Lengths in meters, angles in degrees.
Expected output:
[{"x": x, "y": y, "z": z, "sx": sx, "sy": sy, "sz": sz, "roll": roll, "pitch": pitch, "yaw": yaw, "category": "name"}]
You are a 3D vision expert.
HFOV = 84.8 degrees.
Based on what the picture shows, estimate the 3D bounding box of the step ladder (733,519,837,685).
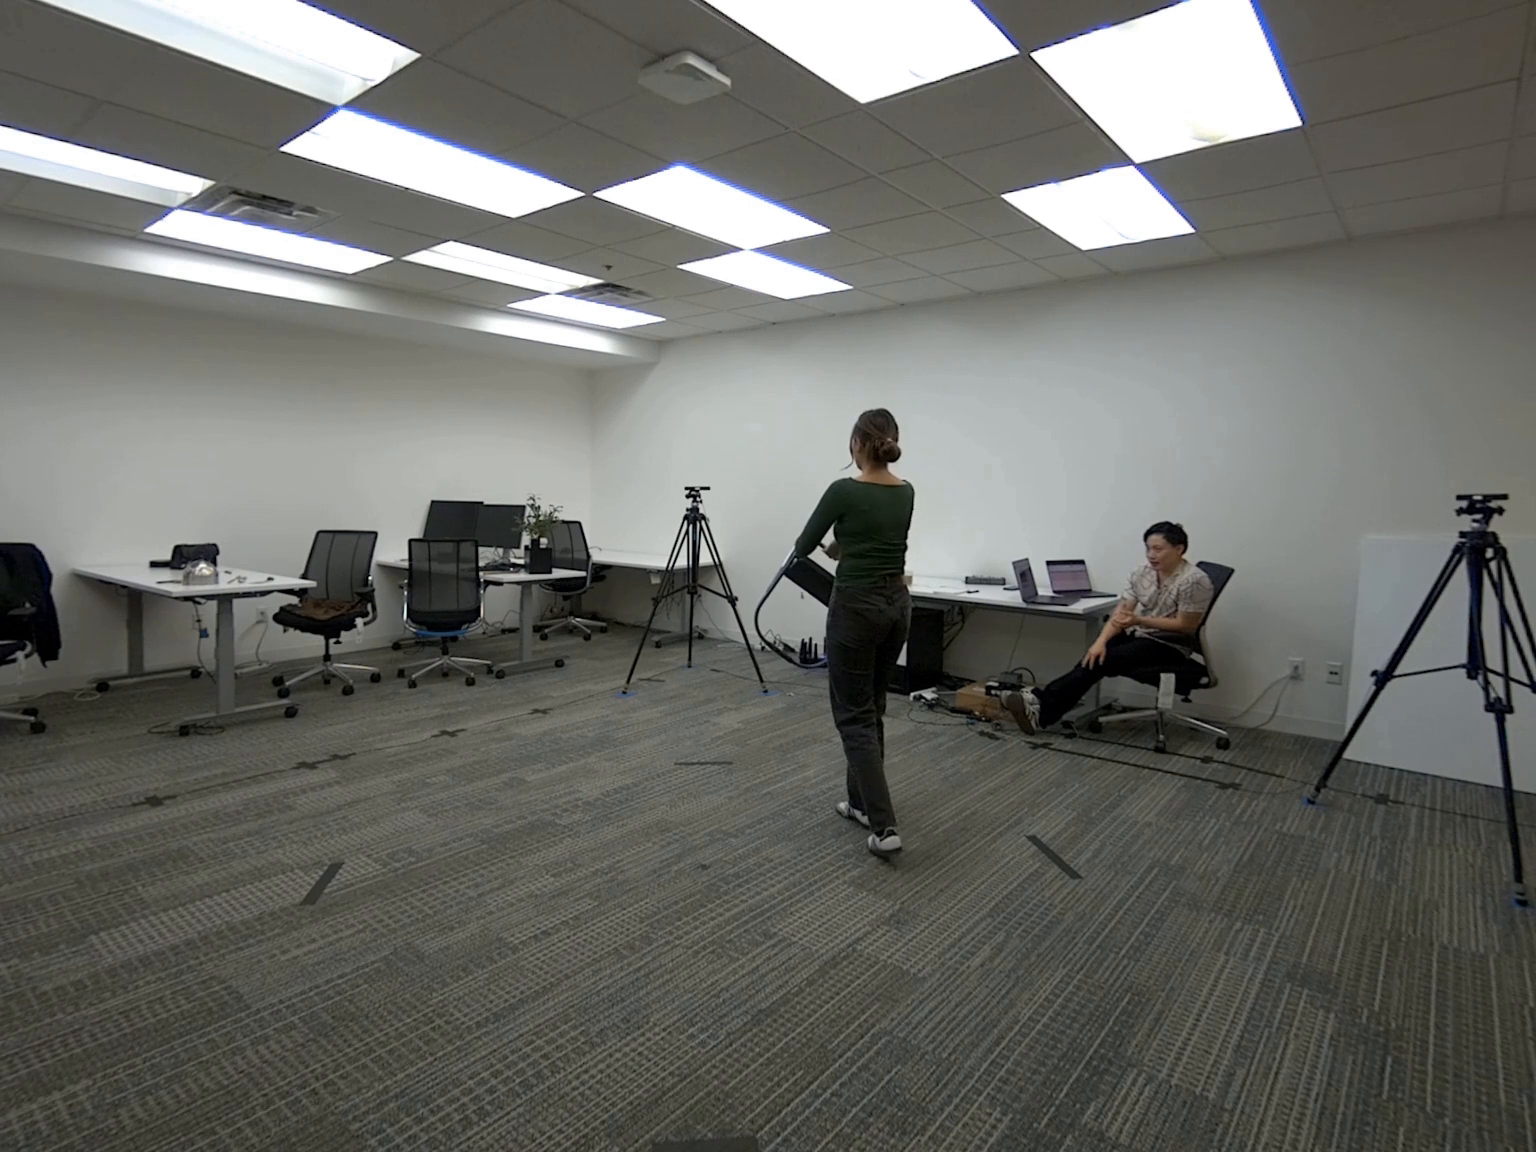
[{"x": 0.220, "y": 0.082, "z": 3.763, "sx": 0.430, "sy": 0.608, "sz": 0.348, "roll": 35, "pitch": -23, "yaw": -2, "category": "step ladder"}]
